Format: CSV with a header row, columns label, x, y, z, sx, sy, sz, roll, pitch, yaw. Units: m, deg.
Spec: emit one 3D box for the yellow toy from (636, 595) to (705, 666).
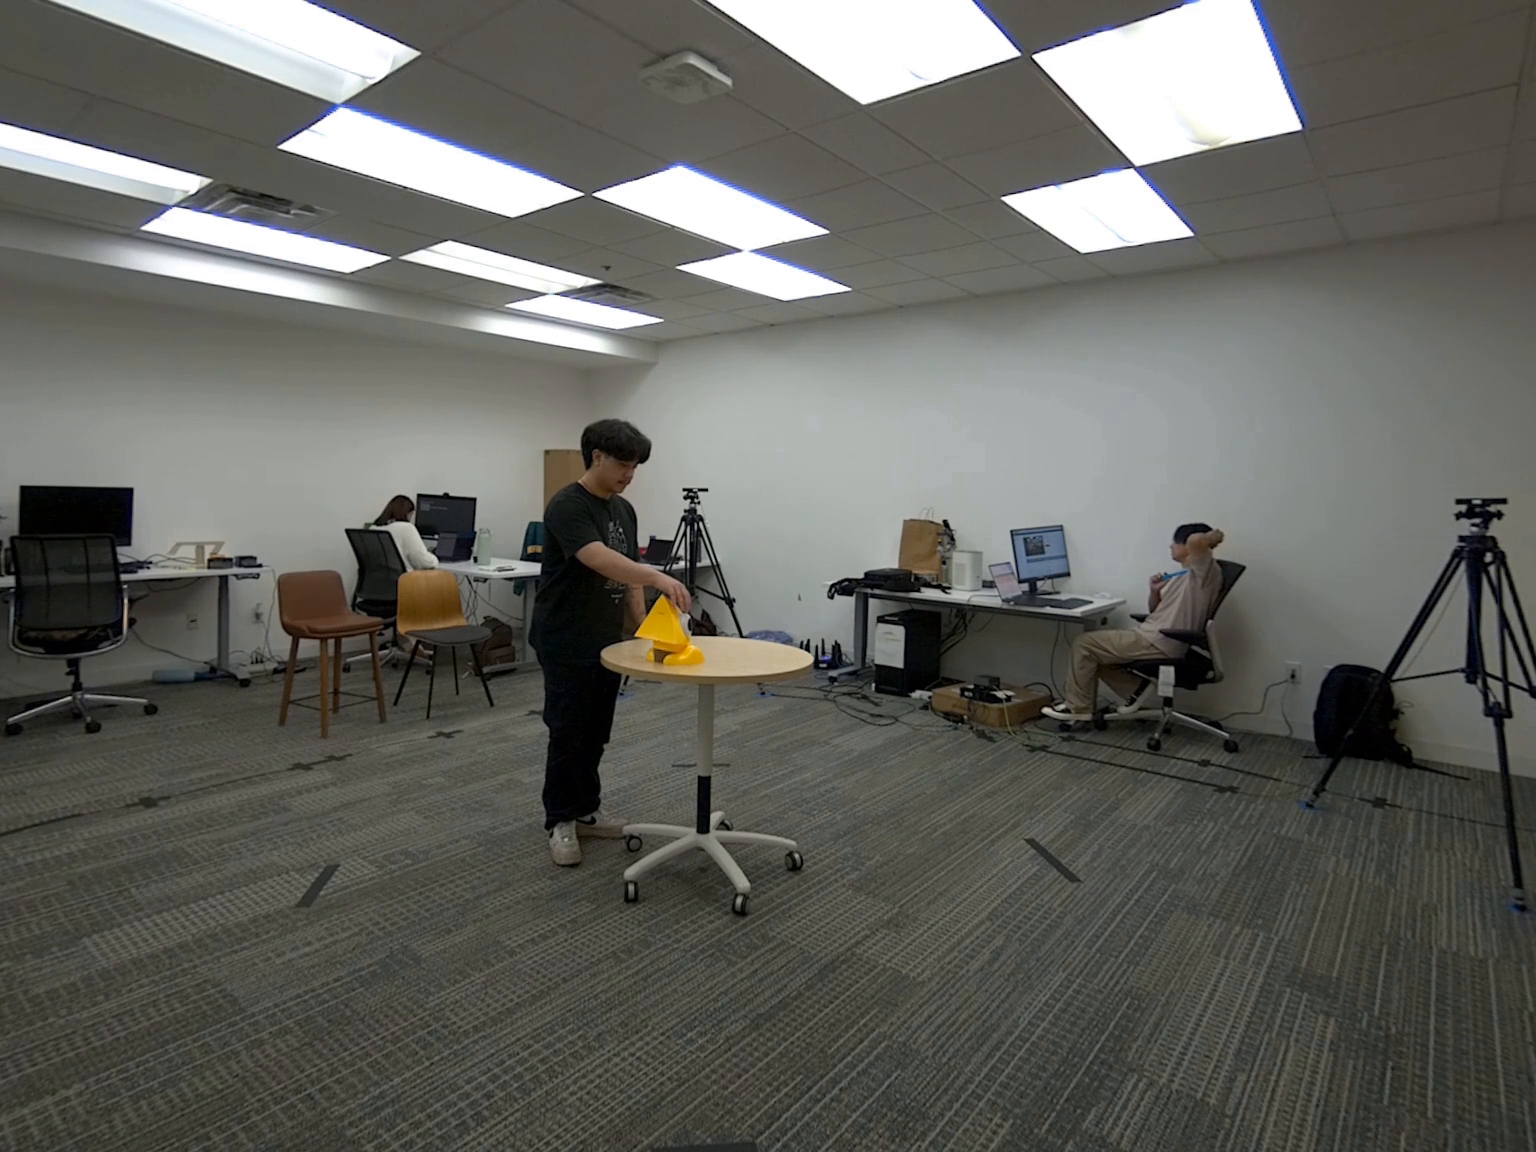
label,x,y,z,sx,sy,sz,roll,pitch,yaw
yellow toy,-0.332,0.174,2.937,0.212,0.230,0.187,4,5,42
